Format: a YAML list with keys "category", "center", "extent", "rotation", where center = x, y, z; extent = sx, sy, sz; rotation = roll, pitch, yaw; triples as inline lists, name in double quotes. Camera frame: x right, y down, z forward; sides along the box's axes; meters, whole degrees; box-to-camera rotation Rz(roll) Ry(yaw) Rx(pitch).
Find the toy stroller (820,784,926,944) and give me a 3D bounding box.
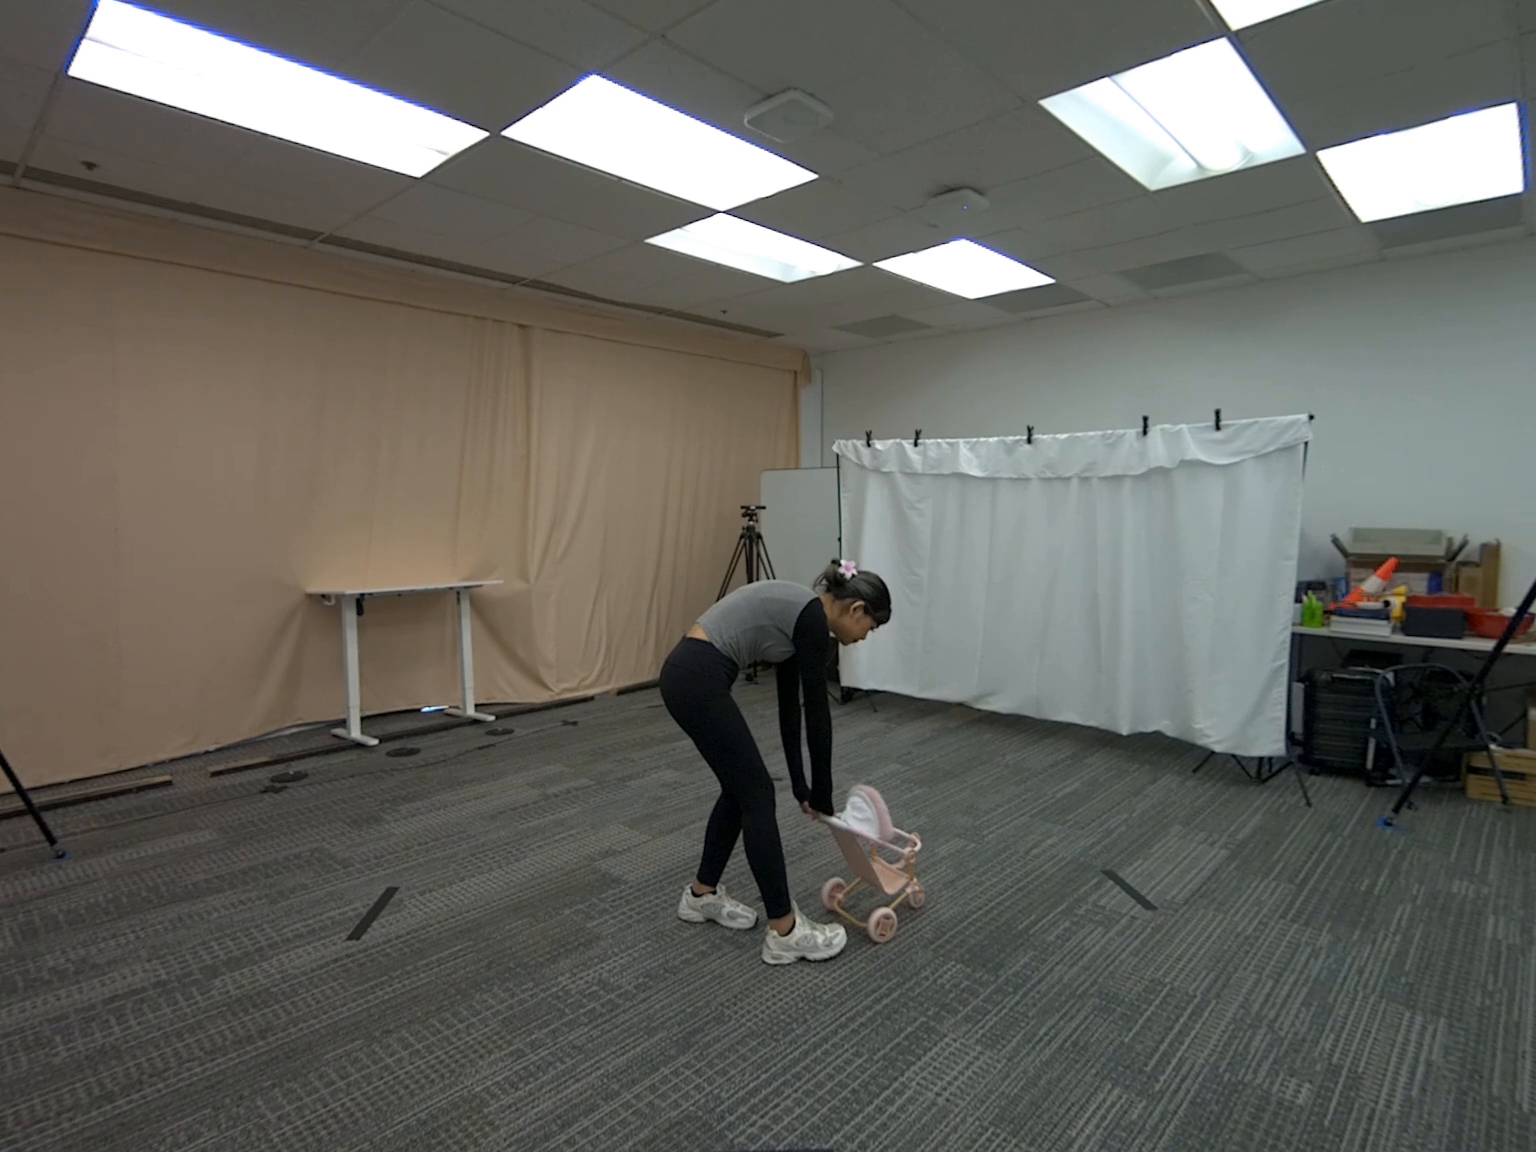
- category: "toy stroller"
  center: [0.354, 0.932, 2.810]
  extent: [0.335, 0.530, 0.289]
  rotation: [-20, 12, -25]
